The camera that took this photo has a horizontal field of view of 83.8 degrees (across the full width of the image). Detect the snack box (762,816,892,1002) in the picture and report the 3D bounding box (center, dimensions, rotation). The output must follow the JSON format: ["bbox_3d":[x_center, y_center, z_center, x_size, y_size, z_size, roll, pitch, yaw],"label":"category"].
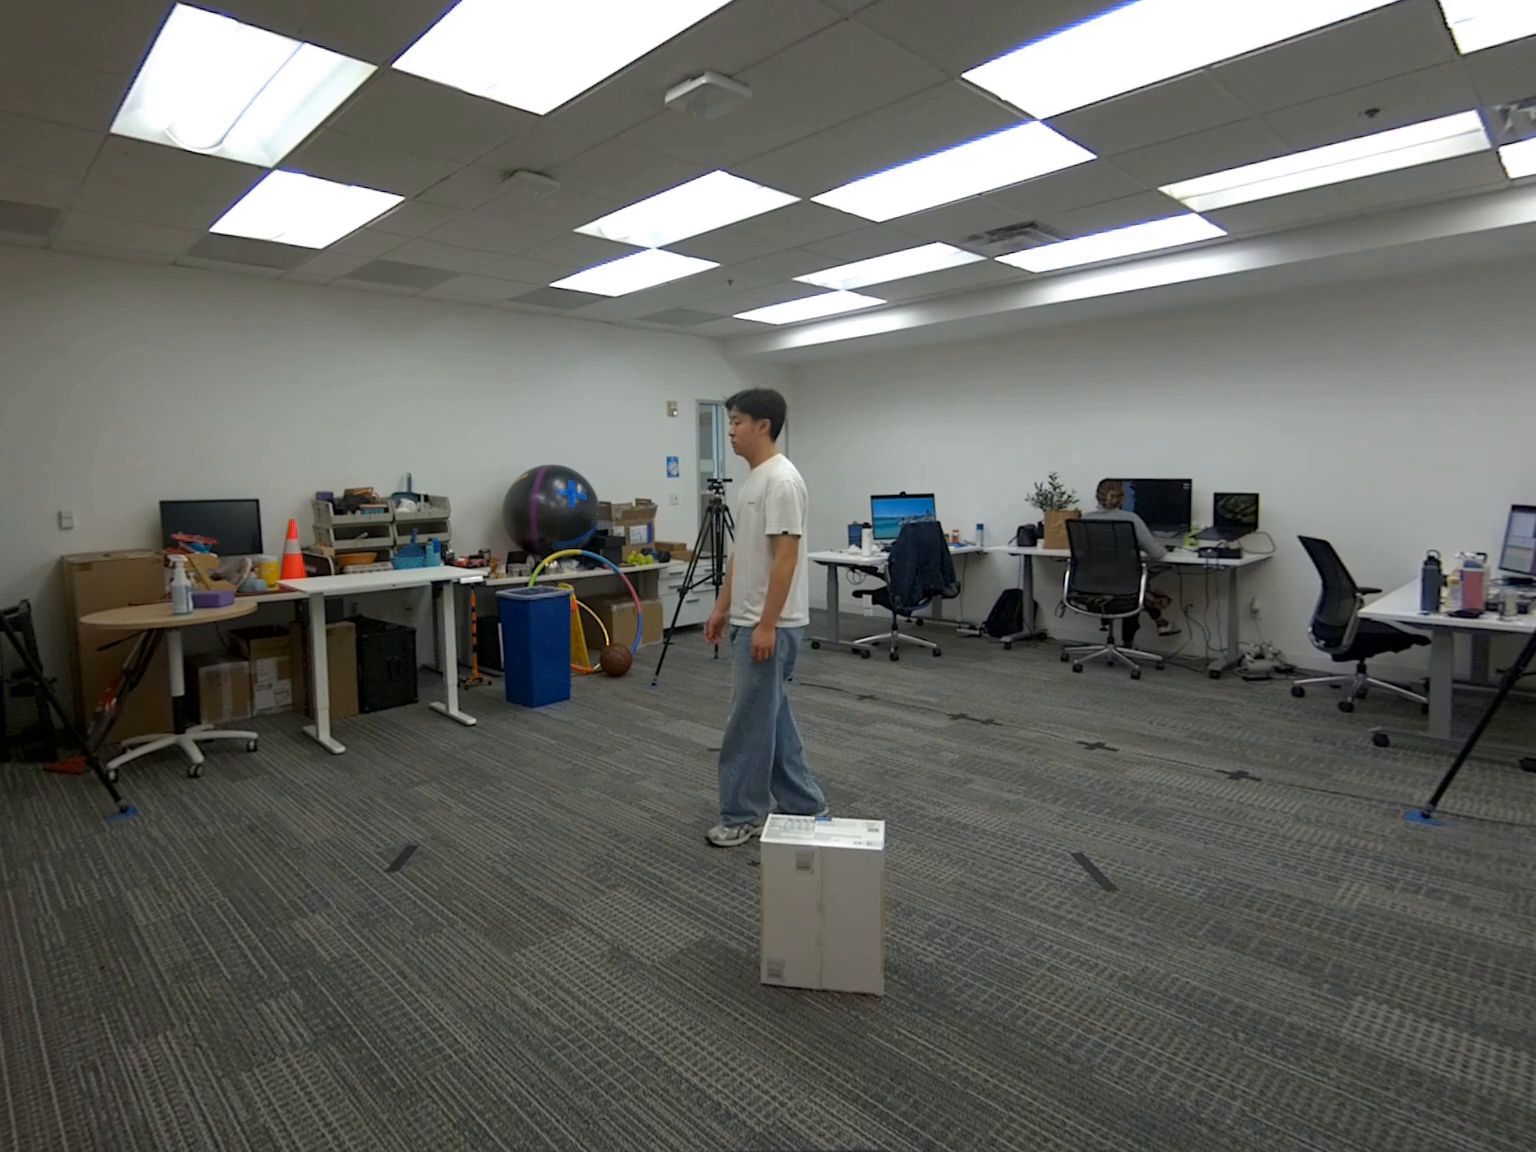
[{"bbox_3d":[0.170,0.923,2.411,0.344,0.404,0.204,0,3,10],"label":"snack box"}]
